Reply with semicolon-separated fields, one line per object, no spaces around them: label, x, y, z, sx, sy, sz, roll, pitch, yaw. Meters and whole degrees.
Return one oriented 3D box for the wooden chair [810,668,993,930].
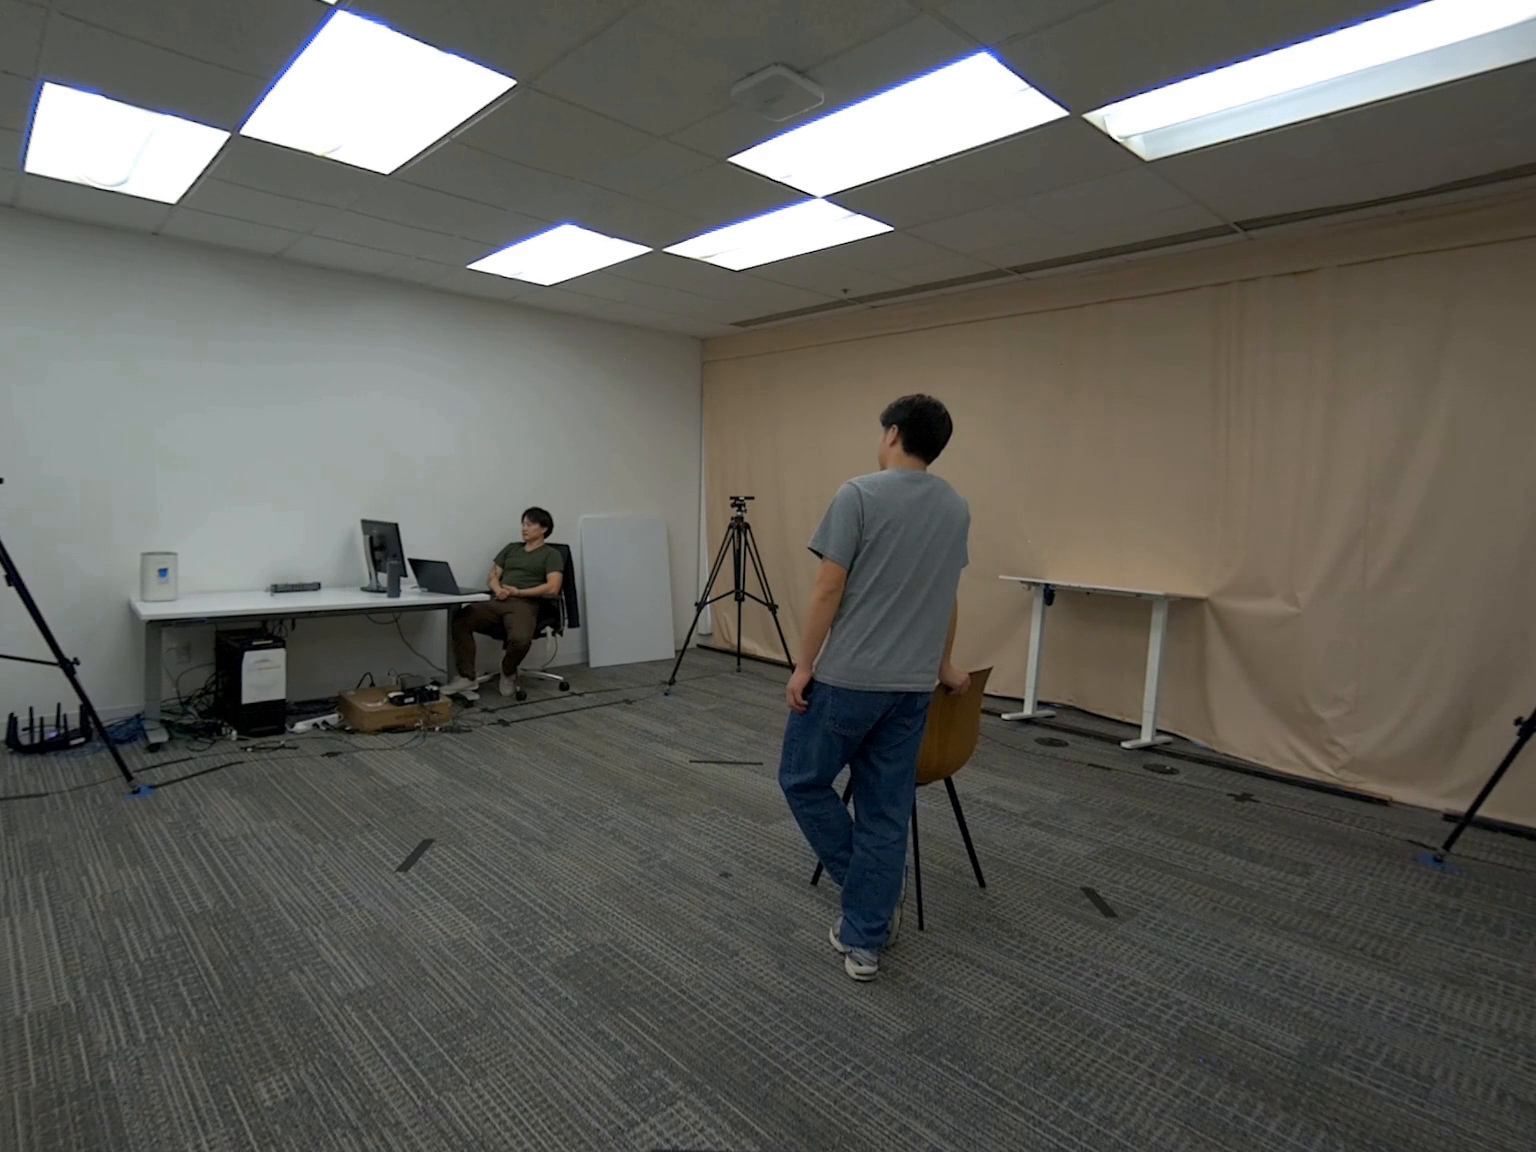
wooden chair;0.476;0.701;3.025;0.537;0.874;0.467;11;8;41
